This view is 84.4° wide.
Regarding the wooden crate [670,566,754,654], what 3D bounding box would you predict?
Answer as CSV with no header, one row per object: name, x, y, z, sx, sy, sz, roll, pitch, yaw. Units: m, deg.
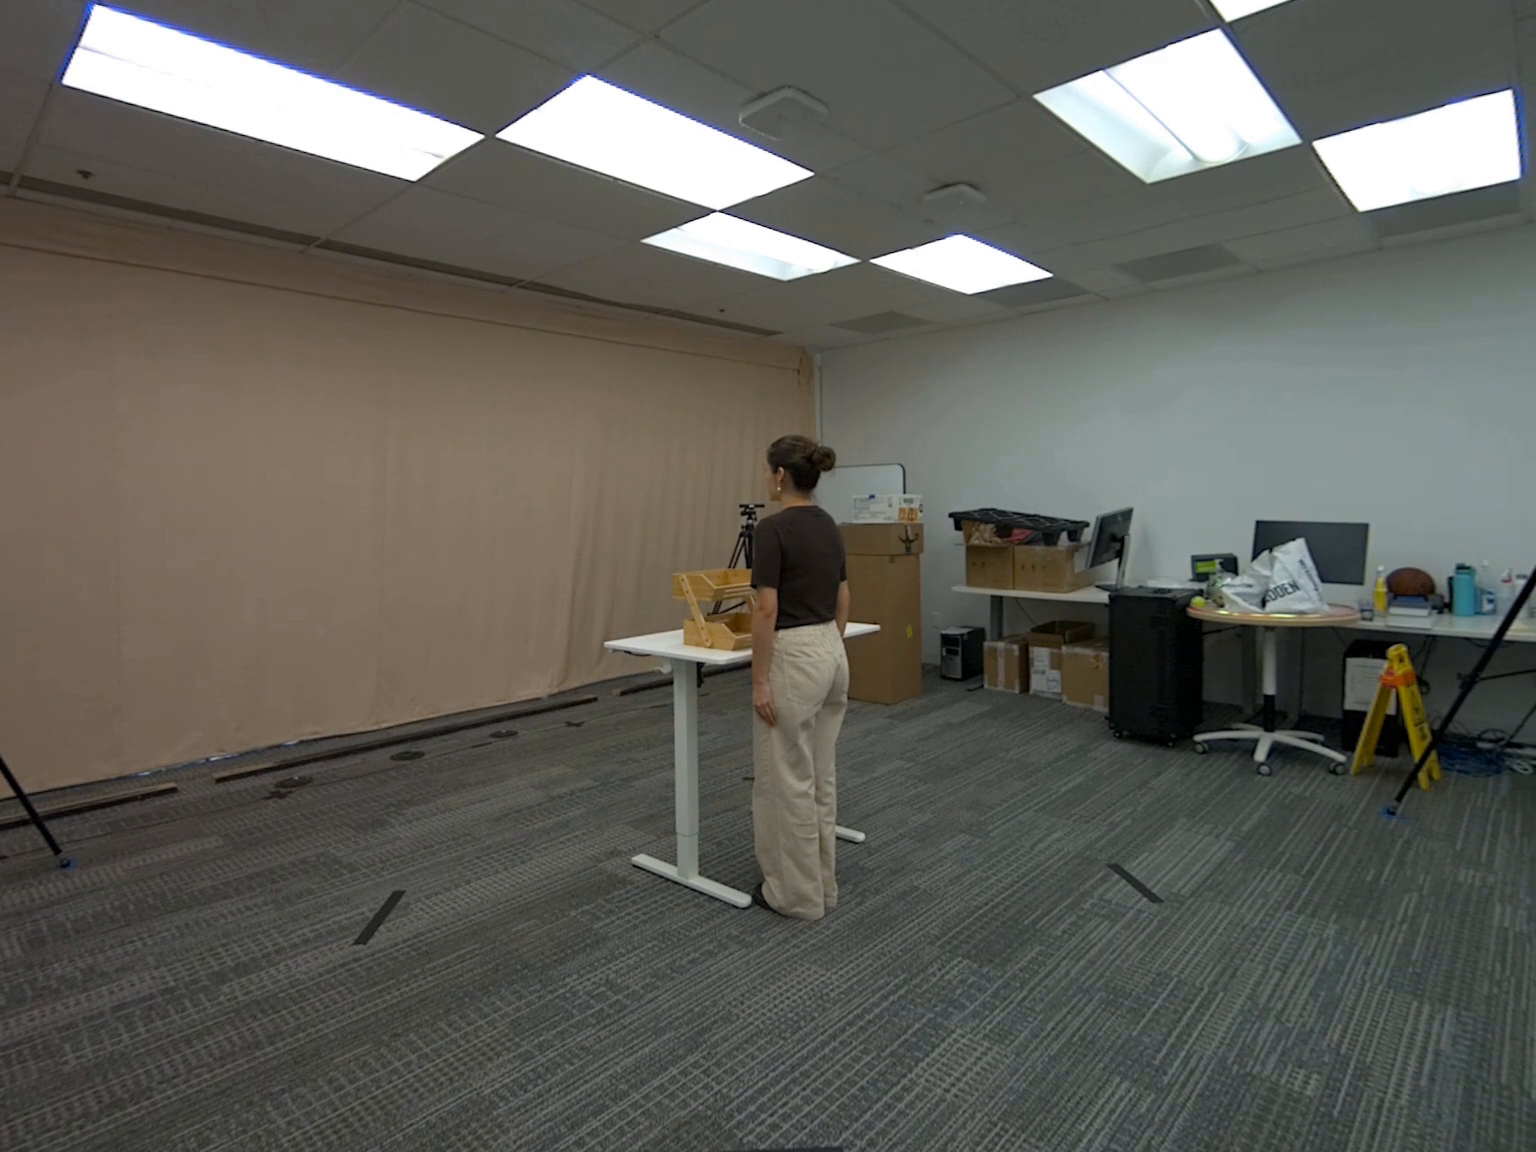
wooden crate,-0.137,0.112,3.122,0.312,0.273,0.315,1,4,39
